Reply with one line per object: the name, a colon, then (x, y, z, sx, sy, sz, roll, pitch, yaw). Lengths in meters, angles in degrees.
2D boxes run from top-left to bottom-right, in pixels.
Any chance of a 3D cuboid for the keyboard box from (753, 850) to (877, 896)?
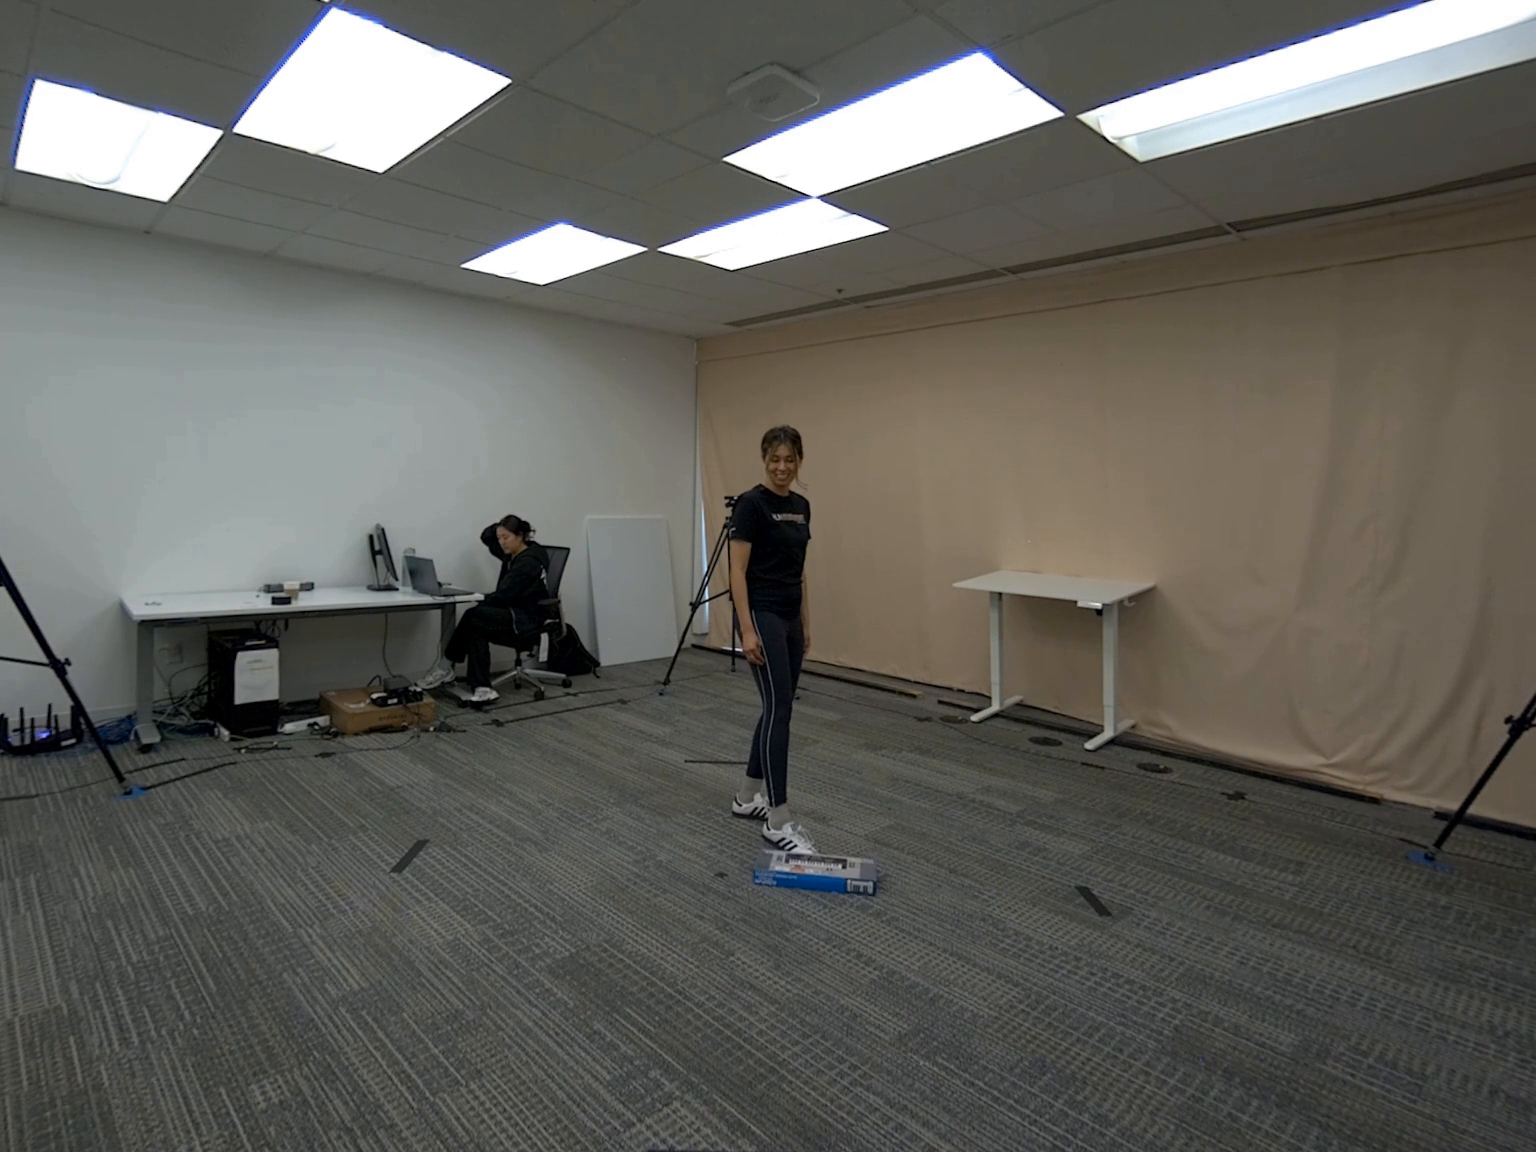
keyboard box: (0.167, 1.084, 3.076, 0.440, 0.059, 0.175, 2, 6, 9)
